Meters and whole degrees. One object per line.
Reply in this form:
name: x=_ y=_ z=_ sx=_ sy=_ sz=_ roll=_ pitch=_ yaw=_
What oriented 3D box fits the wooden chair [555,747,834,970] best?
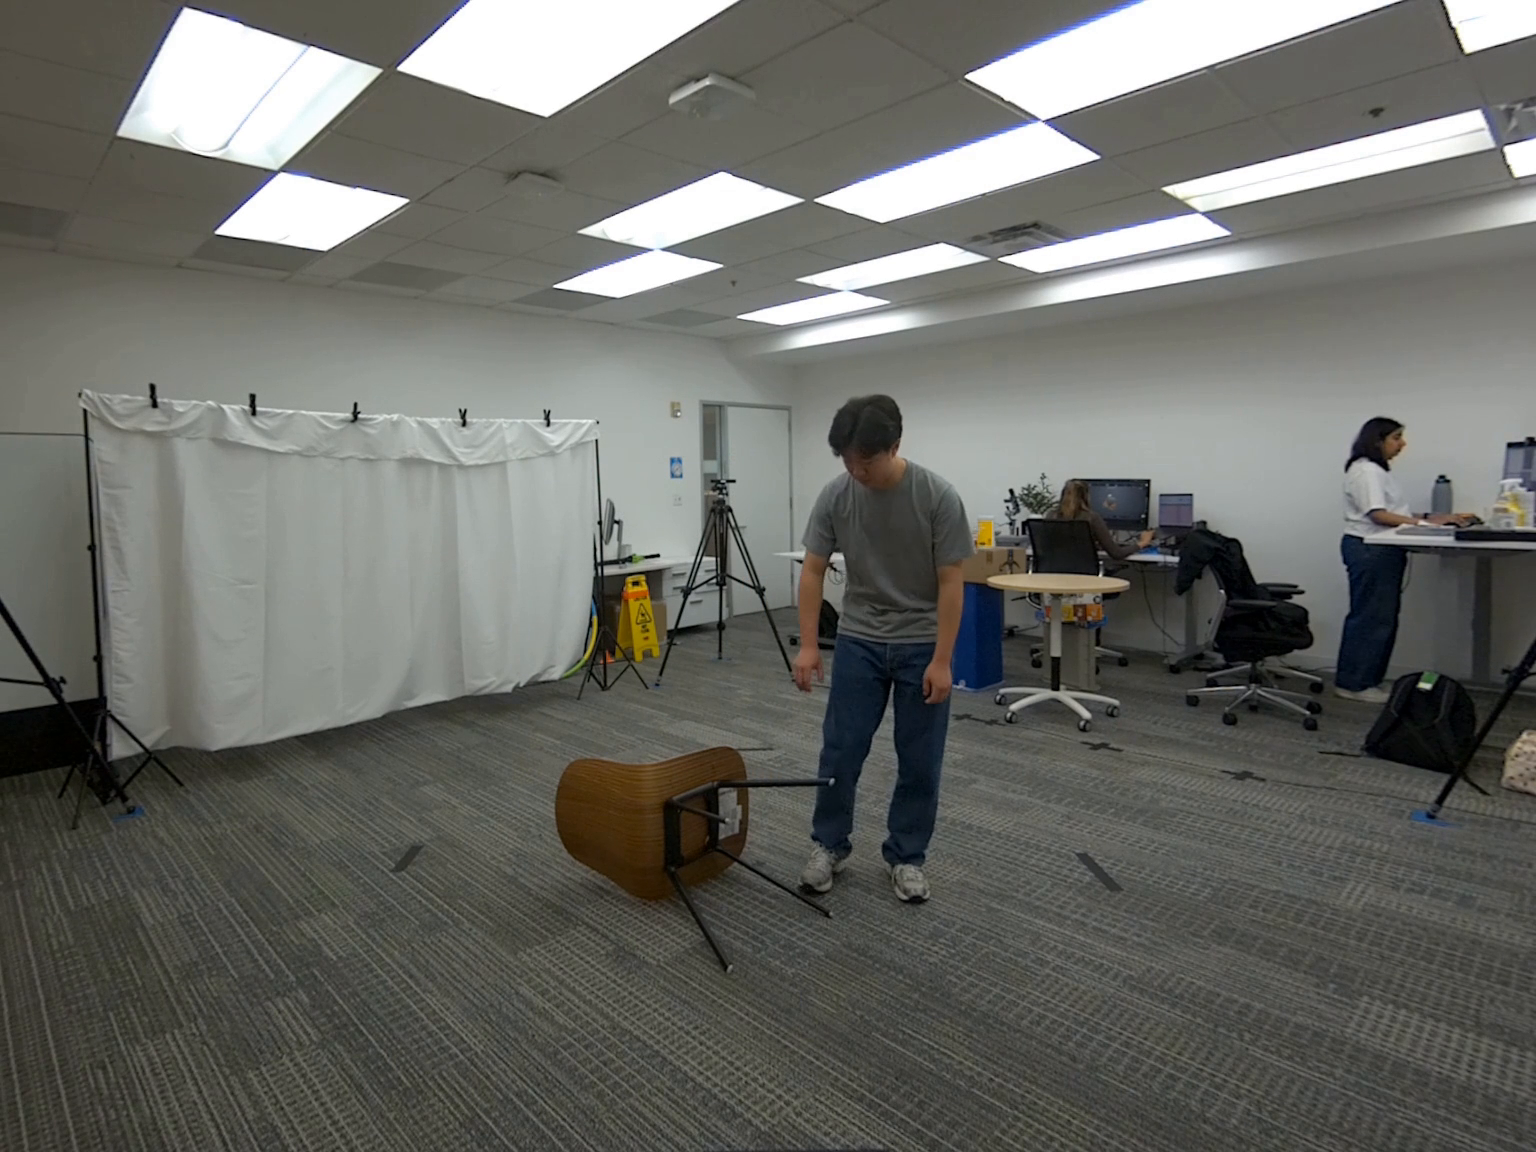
wooden chair: x=-0.245 y=0.847 z=2.866 sx=0.905 sy=0.476 sz=0.510 roll=5 pitch=9 yaw=42
